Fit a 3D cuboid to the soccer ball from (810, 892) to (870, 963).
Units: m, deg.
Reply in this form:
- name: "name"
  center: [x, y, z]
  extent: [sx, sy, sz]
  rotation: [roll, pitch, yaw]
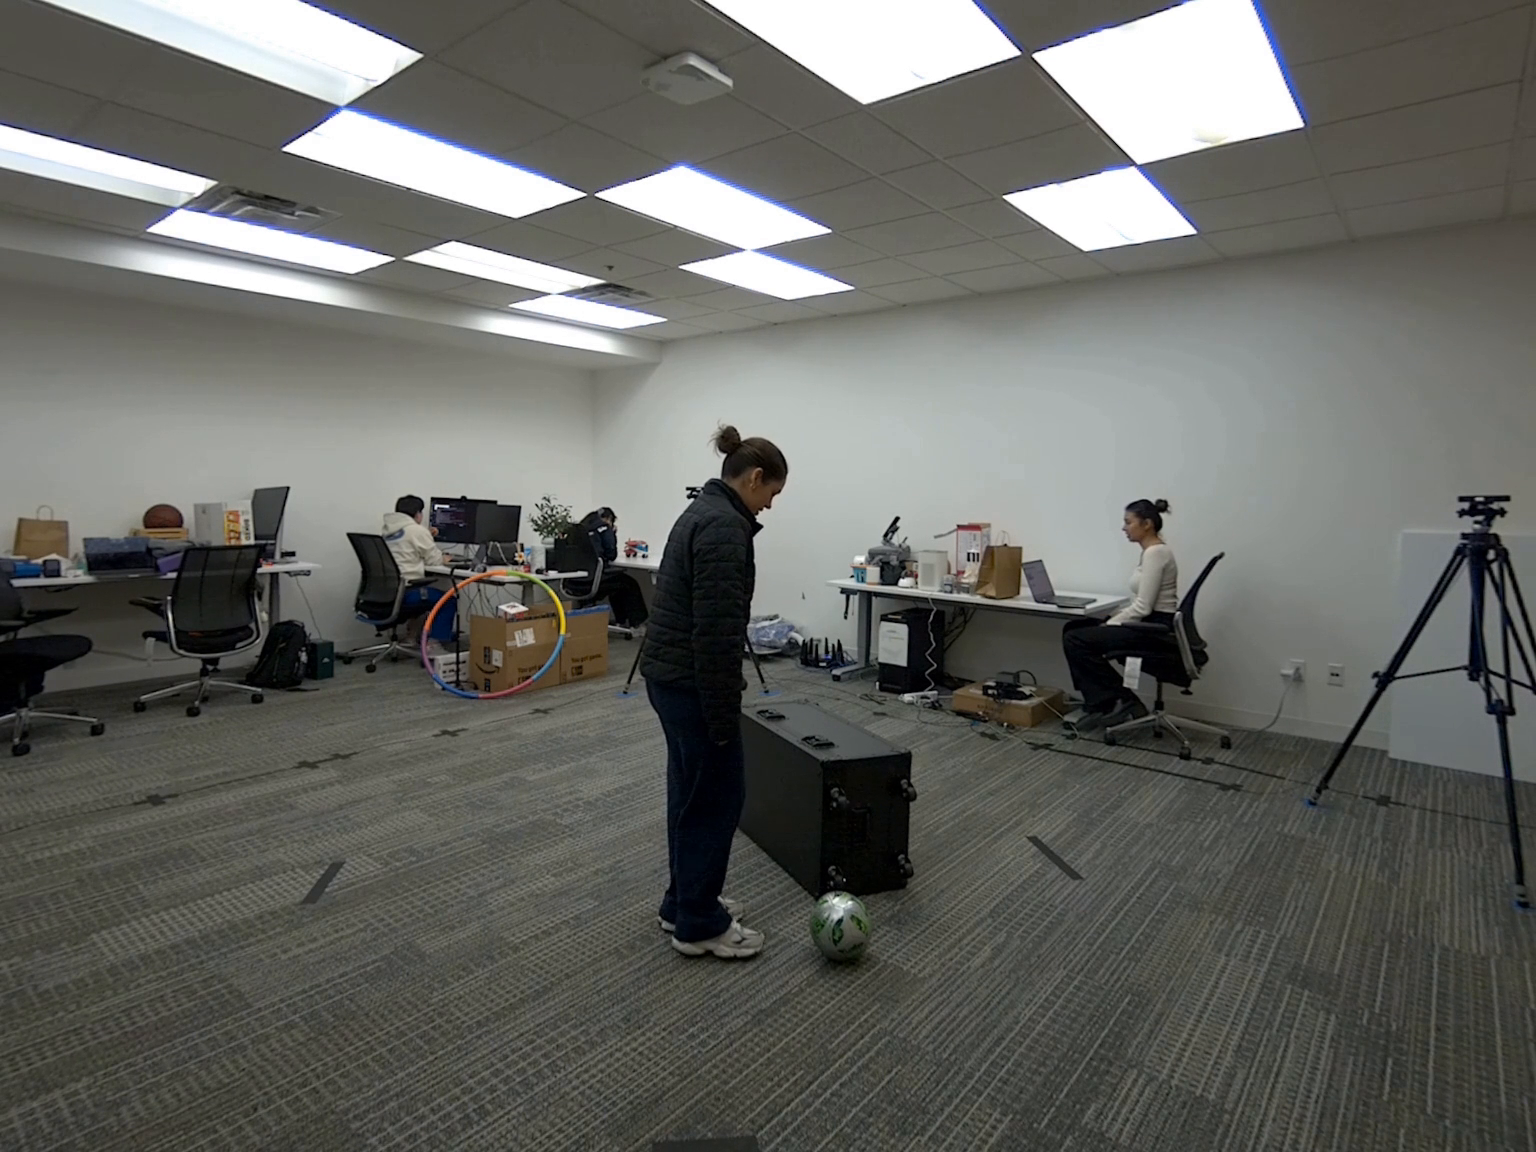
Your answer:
- name: "soccer ball"
  center: [0.214, 1.046, 2.532]
  extent: [0.187, 0.187, 0.188]
  rotation: [1, 4, -2]
